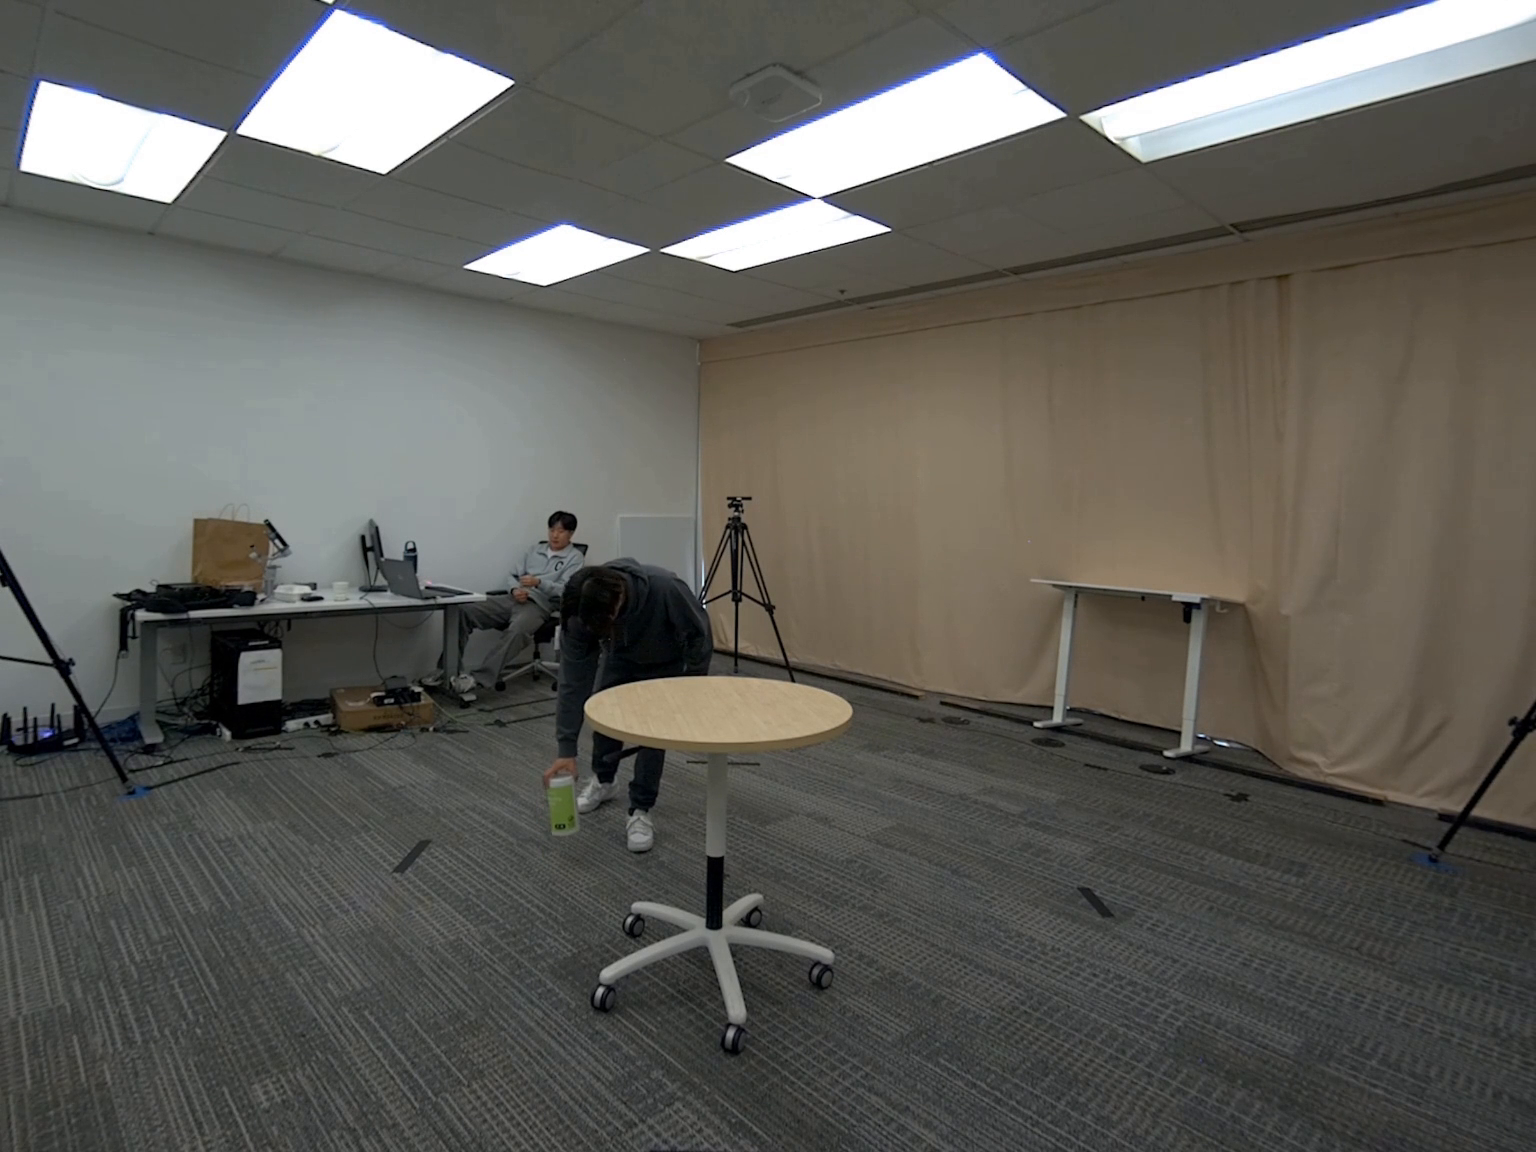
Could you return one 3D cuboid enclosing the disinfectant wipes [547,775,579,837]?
[{"bbox_3d":[-0.794,0.868,3.191,0.118,0.217,0.118,-4,1,-1],"label":"disinfectant wipes"}]
